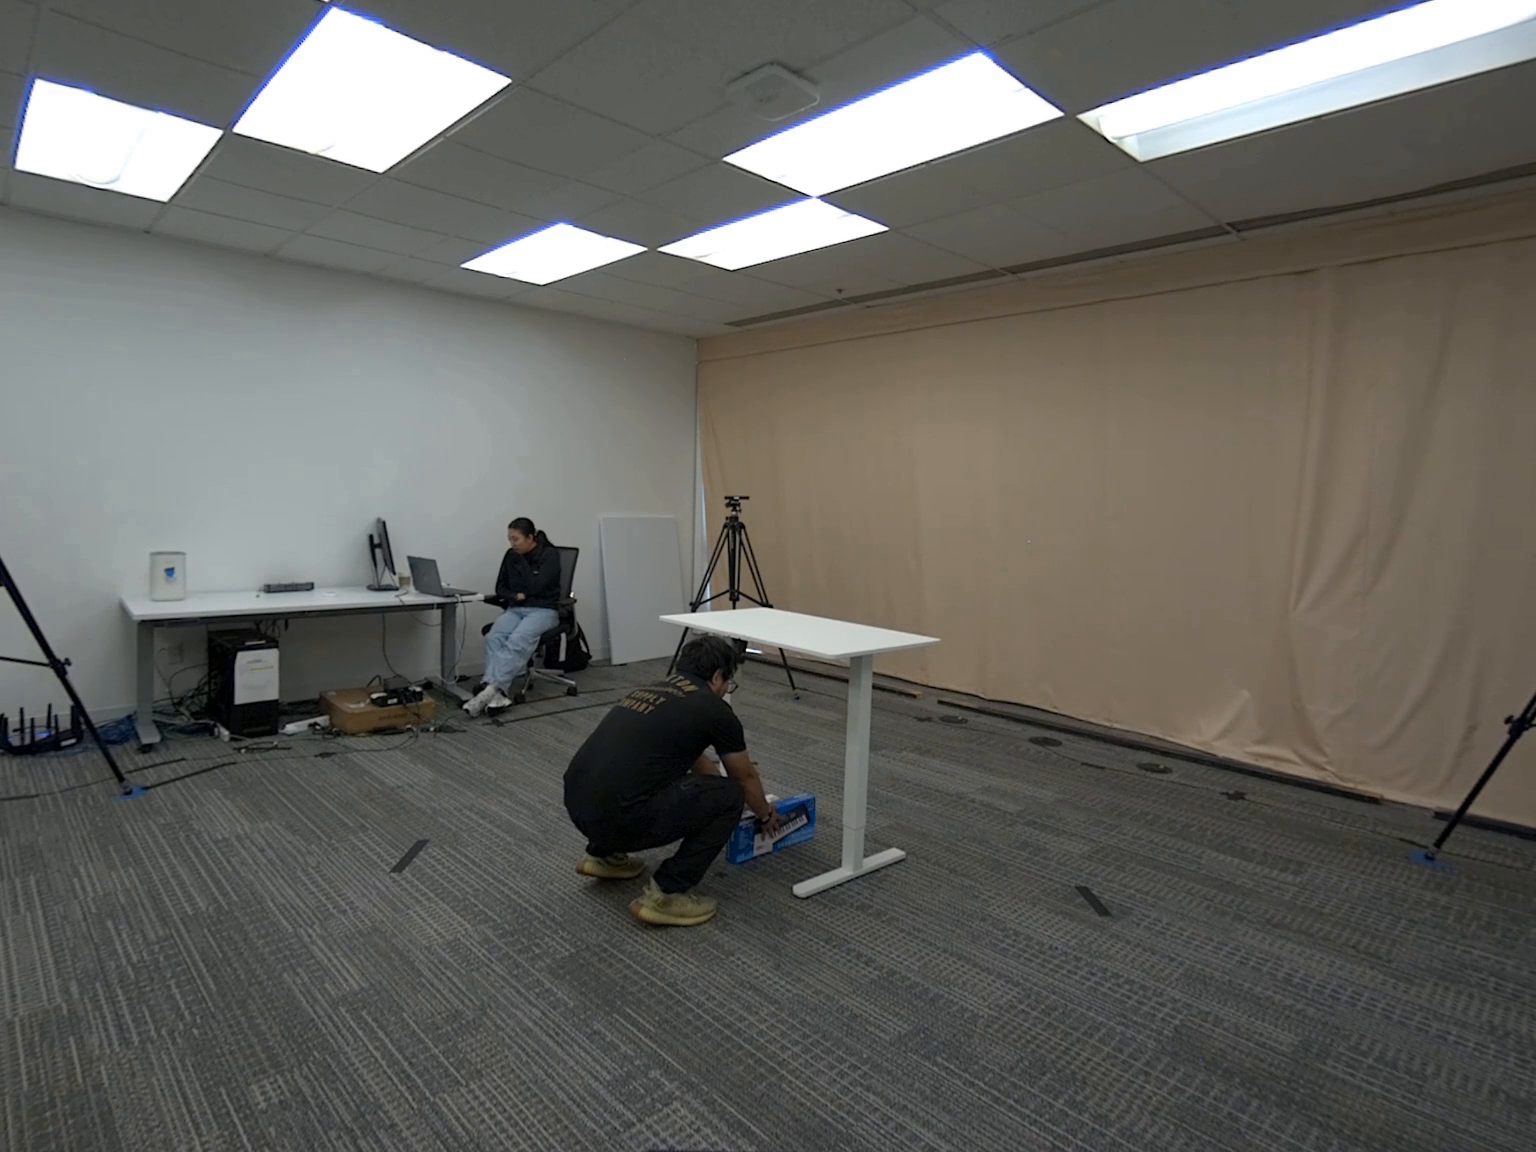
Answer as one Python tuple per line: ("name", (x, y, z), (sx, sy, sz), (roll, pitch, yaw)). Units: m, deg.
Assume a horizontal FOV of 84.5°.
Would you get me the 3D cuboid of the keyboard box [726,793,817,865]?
("keyboard box", (0.013, 0.999, 3.344), (0.427, 0.175, 0.060), (-4, 7, -43))
